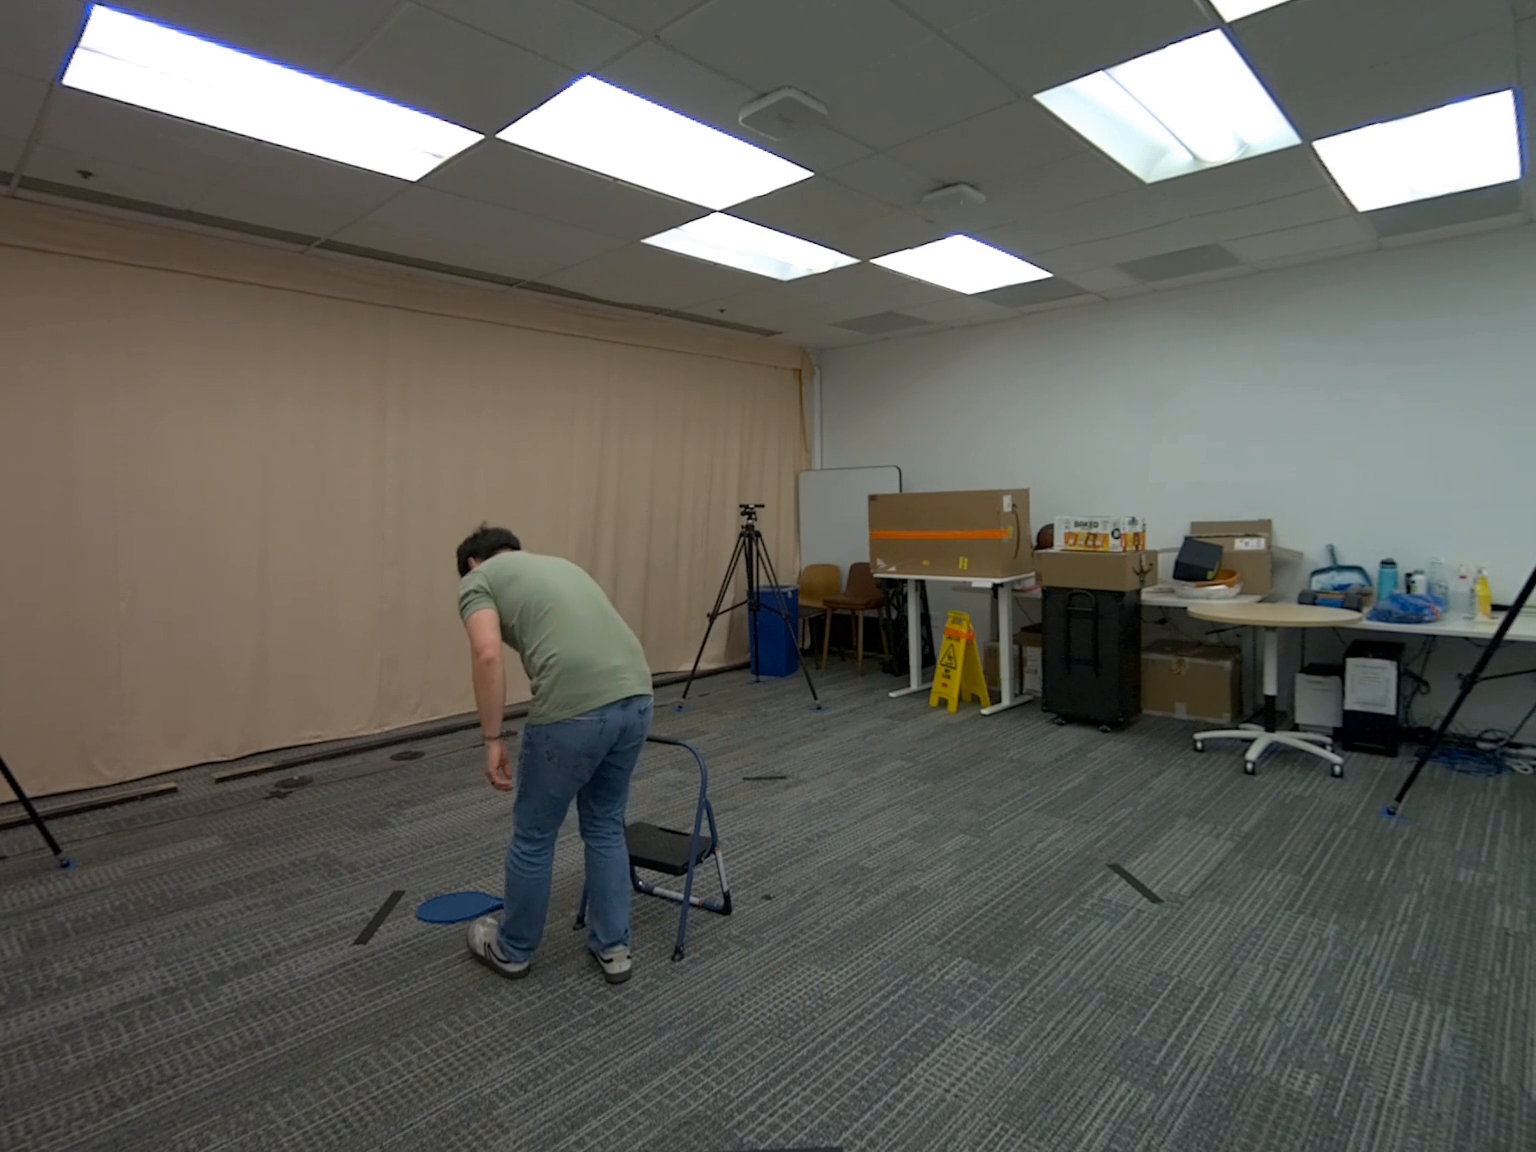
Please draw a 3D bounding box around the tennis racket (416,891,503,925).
[{"bbox_3d":[-1.017,1.160,2.952,0.432,0.031,0.214,-3,5,-1],"label":"tennis racket"}]
